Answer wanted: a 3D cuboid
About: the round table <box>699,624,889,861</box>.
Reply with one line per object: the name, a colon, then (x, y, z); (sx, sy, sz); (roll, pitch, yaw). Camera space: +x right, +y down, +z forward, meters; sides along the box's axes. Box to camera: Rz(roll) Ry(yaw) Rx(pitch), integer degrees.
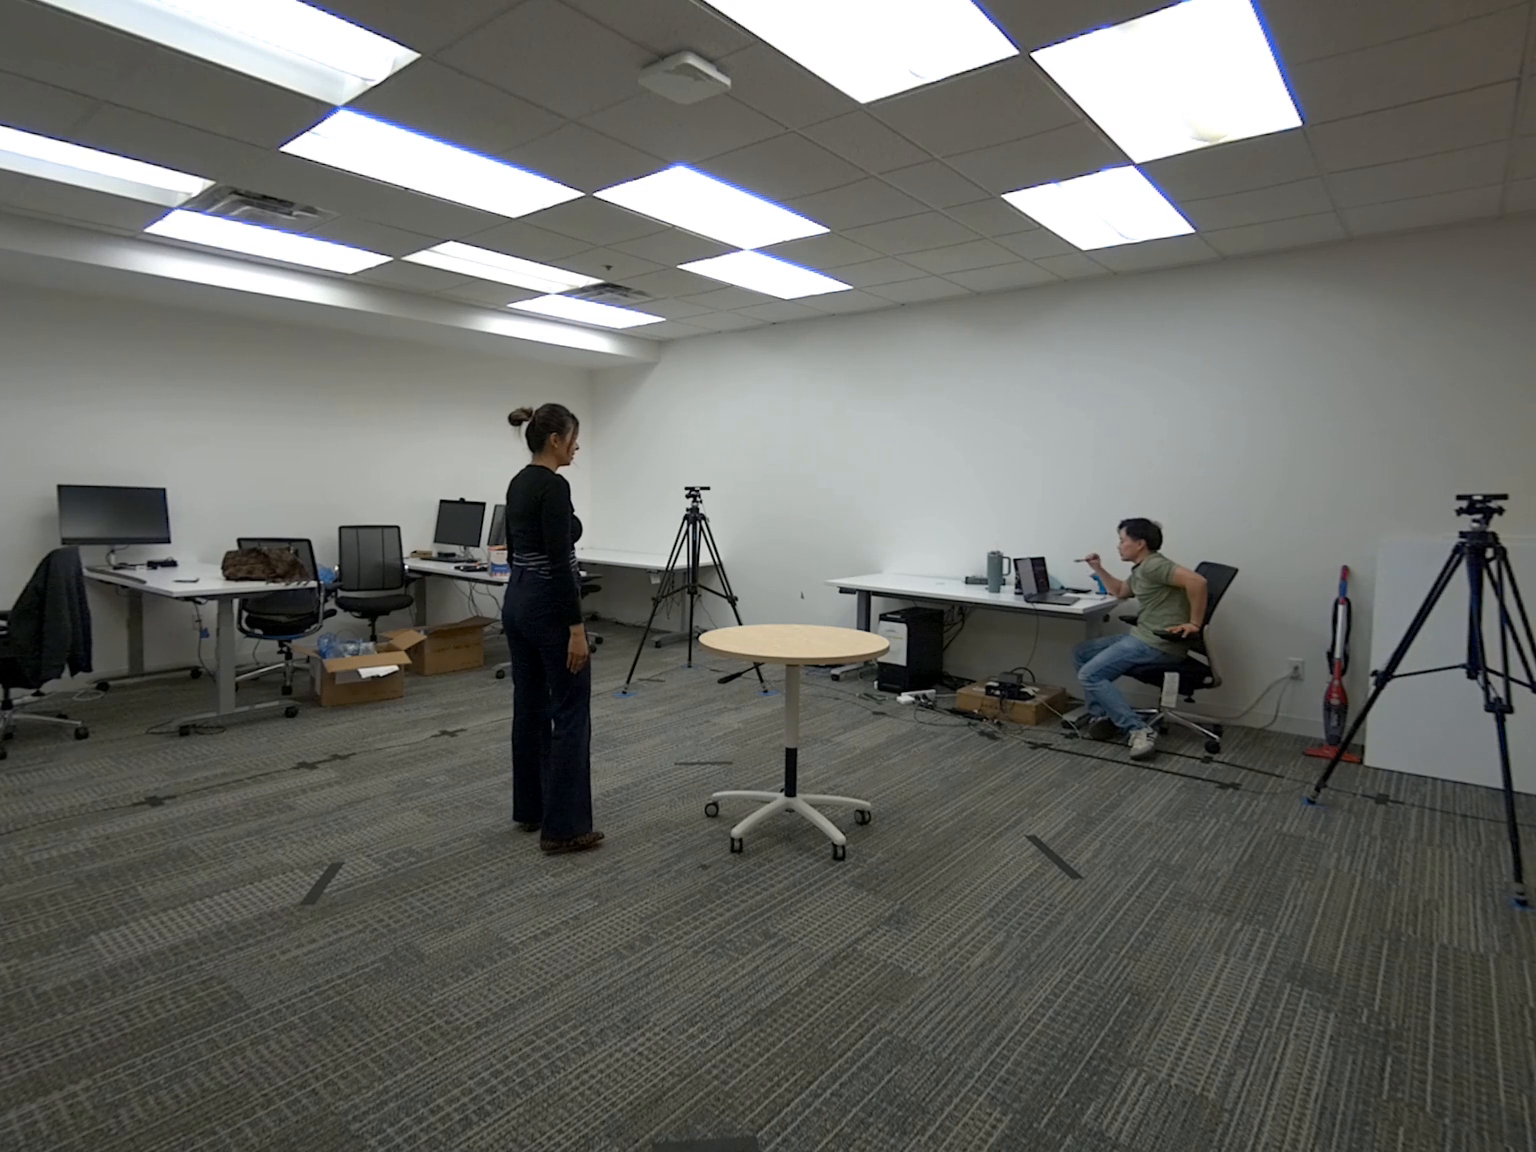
round table: (0.080, 0.650, 3.462); (0.763, 0.791, 0.768); (1, 4, -2)
